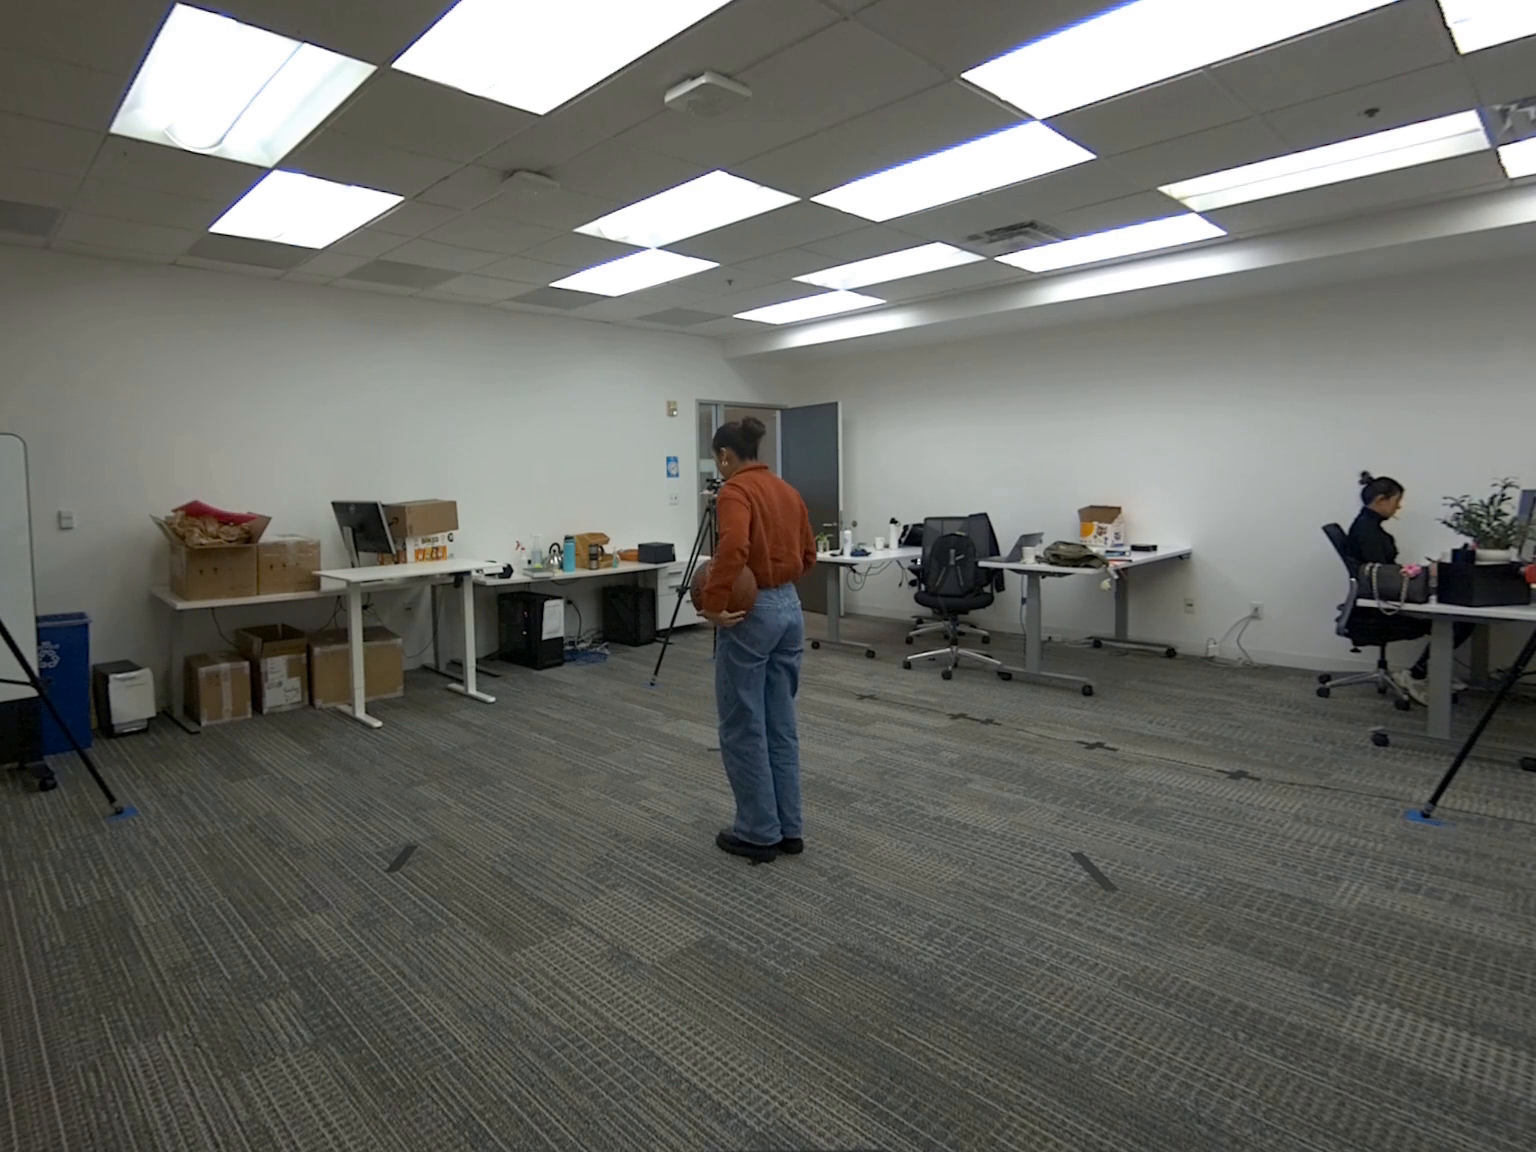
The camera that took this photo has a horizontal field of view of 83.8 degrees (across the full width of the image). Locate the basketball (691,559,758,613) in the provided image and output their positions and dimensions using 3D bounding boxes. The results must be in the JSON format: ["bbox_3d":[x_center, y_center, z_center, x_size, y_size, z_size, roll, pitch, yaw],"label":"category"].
[{"bbox_3d":[-0.151,0.044,2.996,0.236,0.235,0.237,-1,5,-2],"label":"basketball"}]
